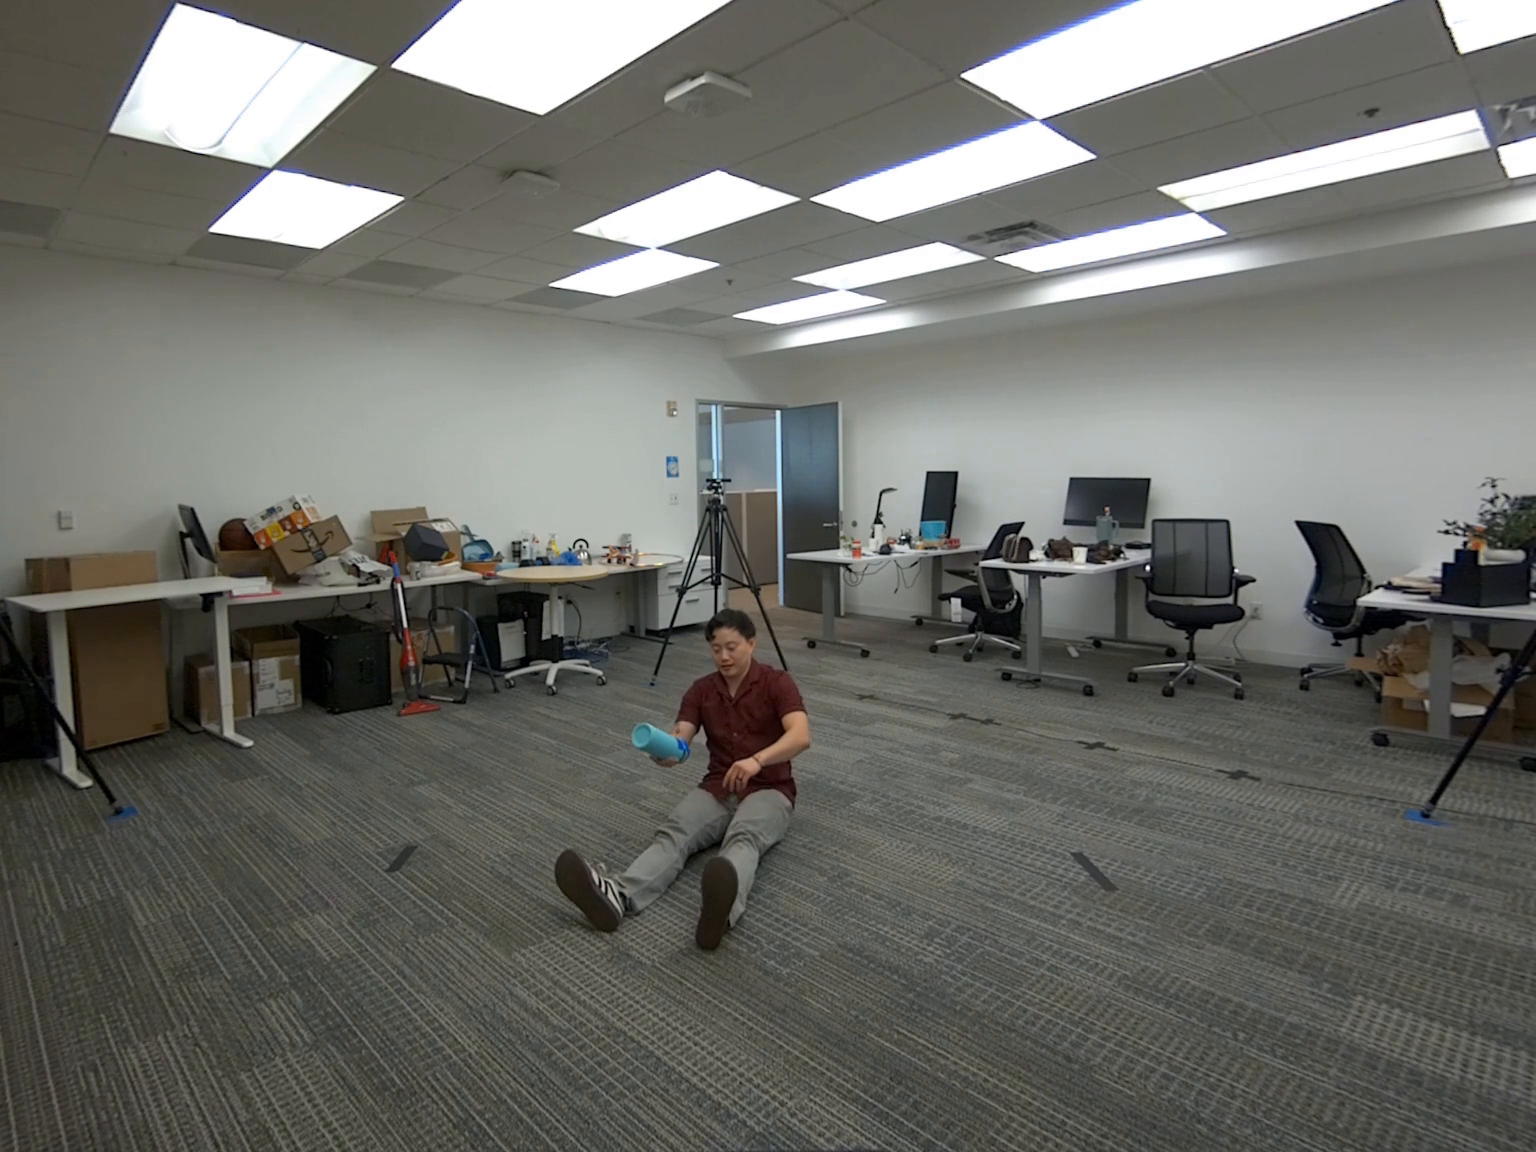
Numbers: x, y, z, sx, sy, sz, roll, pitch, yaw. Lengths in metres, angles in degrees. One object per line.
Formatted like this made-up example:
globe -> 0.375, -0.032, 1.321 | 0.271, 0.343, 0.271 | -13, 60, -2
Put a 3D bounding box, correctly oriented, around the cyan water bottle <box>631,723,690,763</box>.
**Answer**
cyan water bottle -> -0.372, 0.598, 3.037 | 0.095, 0.093, 0.272 | 2, -23, 32
